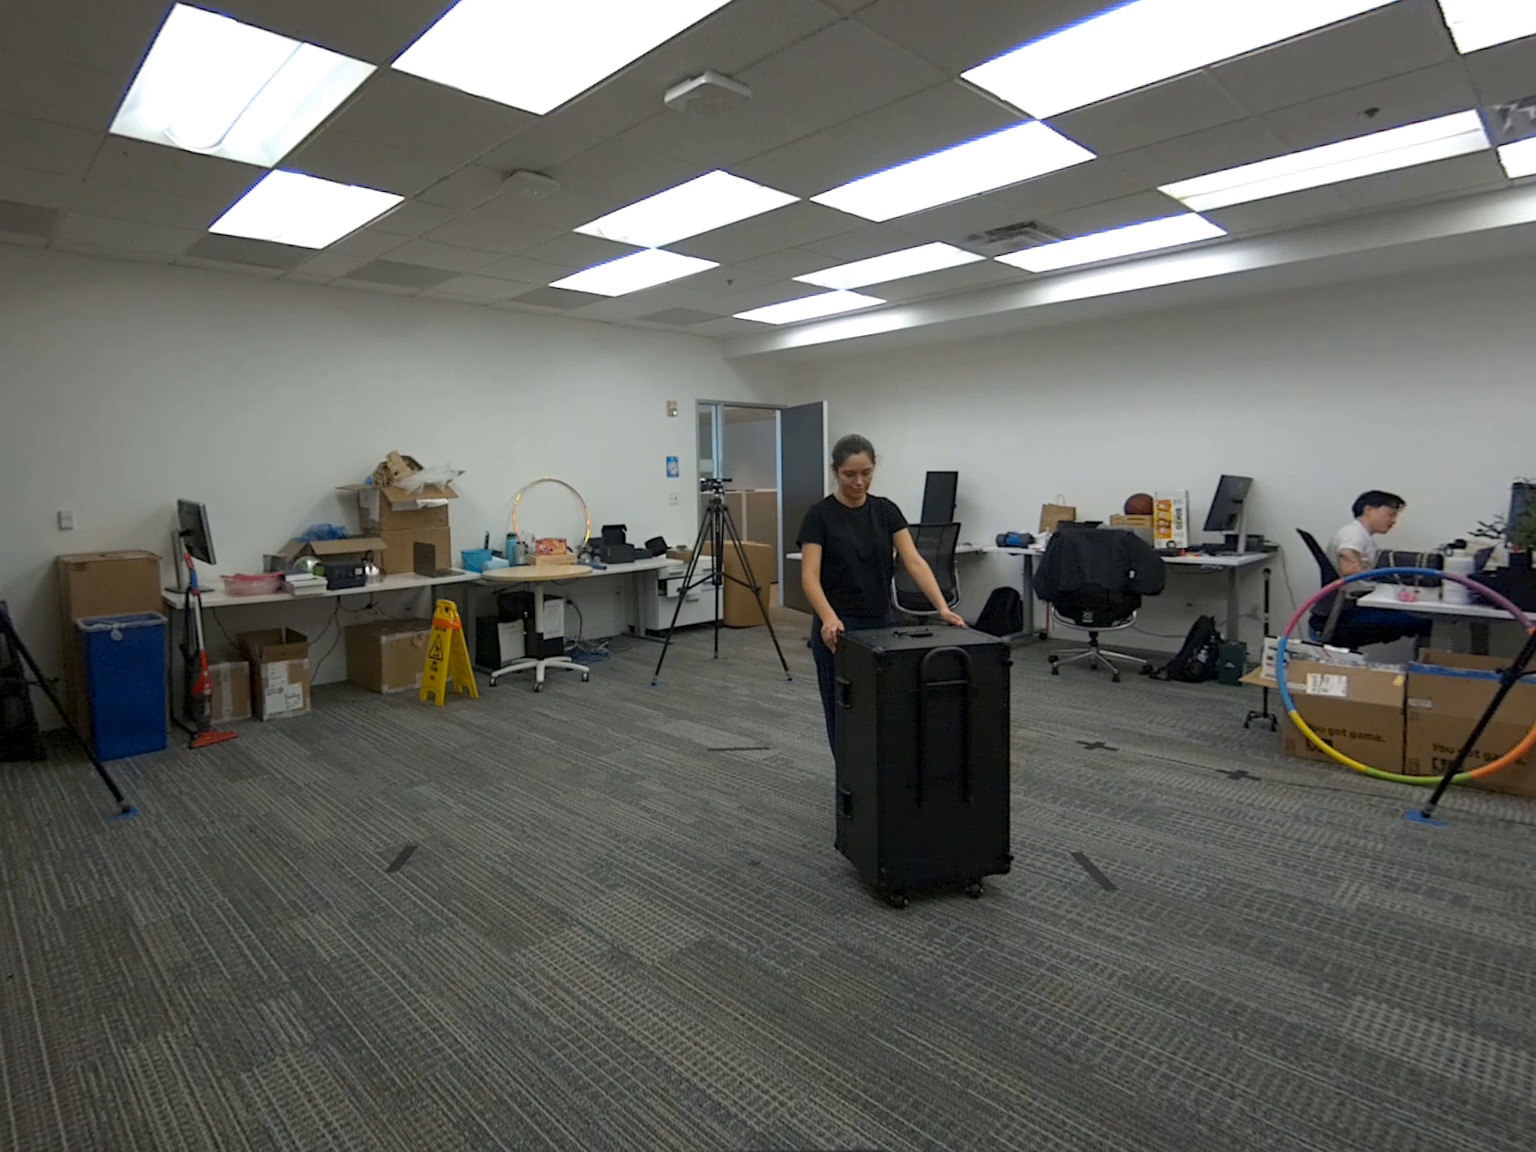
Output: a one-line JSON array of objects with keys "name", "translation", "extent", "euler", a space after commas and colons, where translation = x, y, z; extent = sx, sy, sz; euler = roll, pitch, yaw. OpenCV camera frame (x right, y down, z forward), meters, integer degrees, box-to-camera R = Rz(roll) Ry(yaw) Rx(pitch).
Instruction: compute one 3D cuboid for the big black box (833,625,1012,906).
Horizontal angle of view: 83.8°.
[{"name": "big black box", "translation": [0.525, 0.630, 2.938], "extent": [0.514, 0.858, 0.403], "euler": [-2, 5, -16]}]
